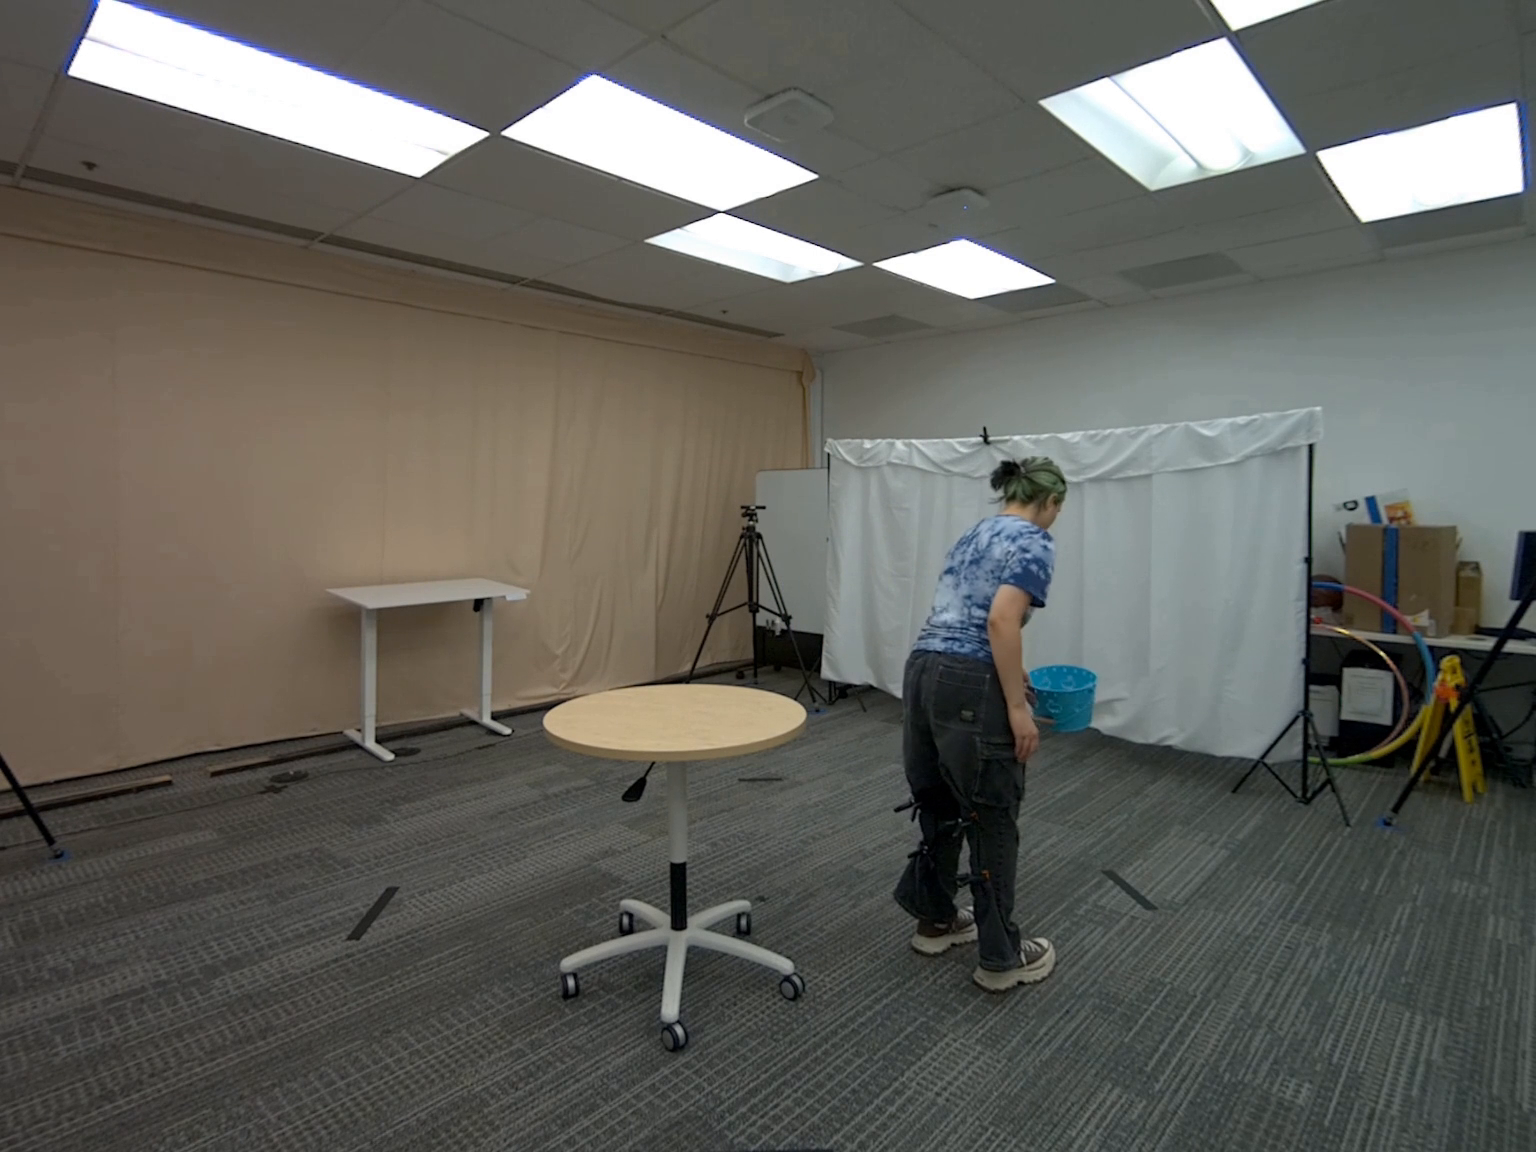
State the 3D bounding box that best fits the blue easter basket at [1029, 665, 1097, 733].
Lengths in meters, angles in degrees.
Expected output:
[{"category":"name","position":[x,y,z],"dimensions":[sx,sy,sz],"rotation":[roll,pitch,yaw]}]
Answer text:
[{"category":"blue easter basket","position":[0.988,0.419,2.804],"dimensions":[0.244,0.154,0.246],"rotation":[-7,12,0]}]
